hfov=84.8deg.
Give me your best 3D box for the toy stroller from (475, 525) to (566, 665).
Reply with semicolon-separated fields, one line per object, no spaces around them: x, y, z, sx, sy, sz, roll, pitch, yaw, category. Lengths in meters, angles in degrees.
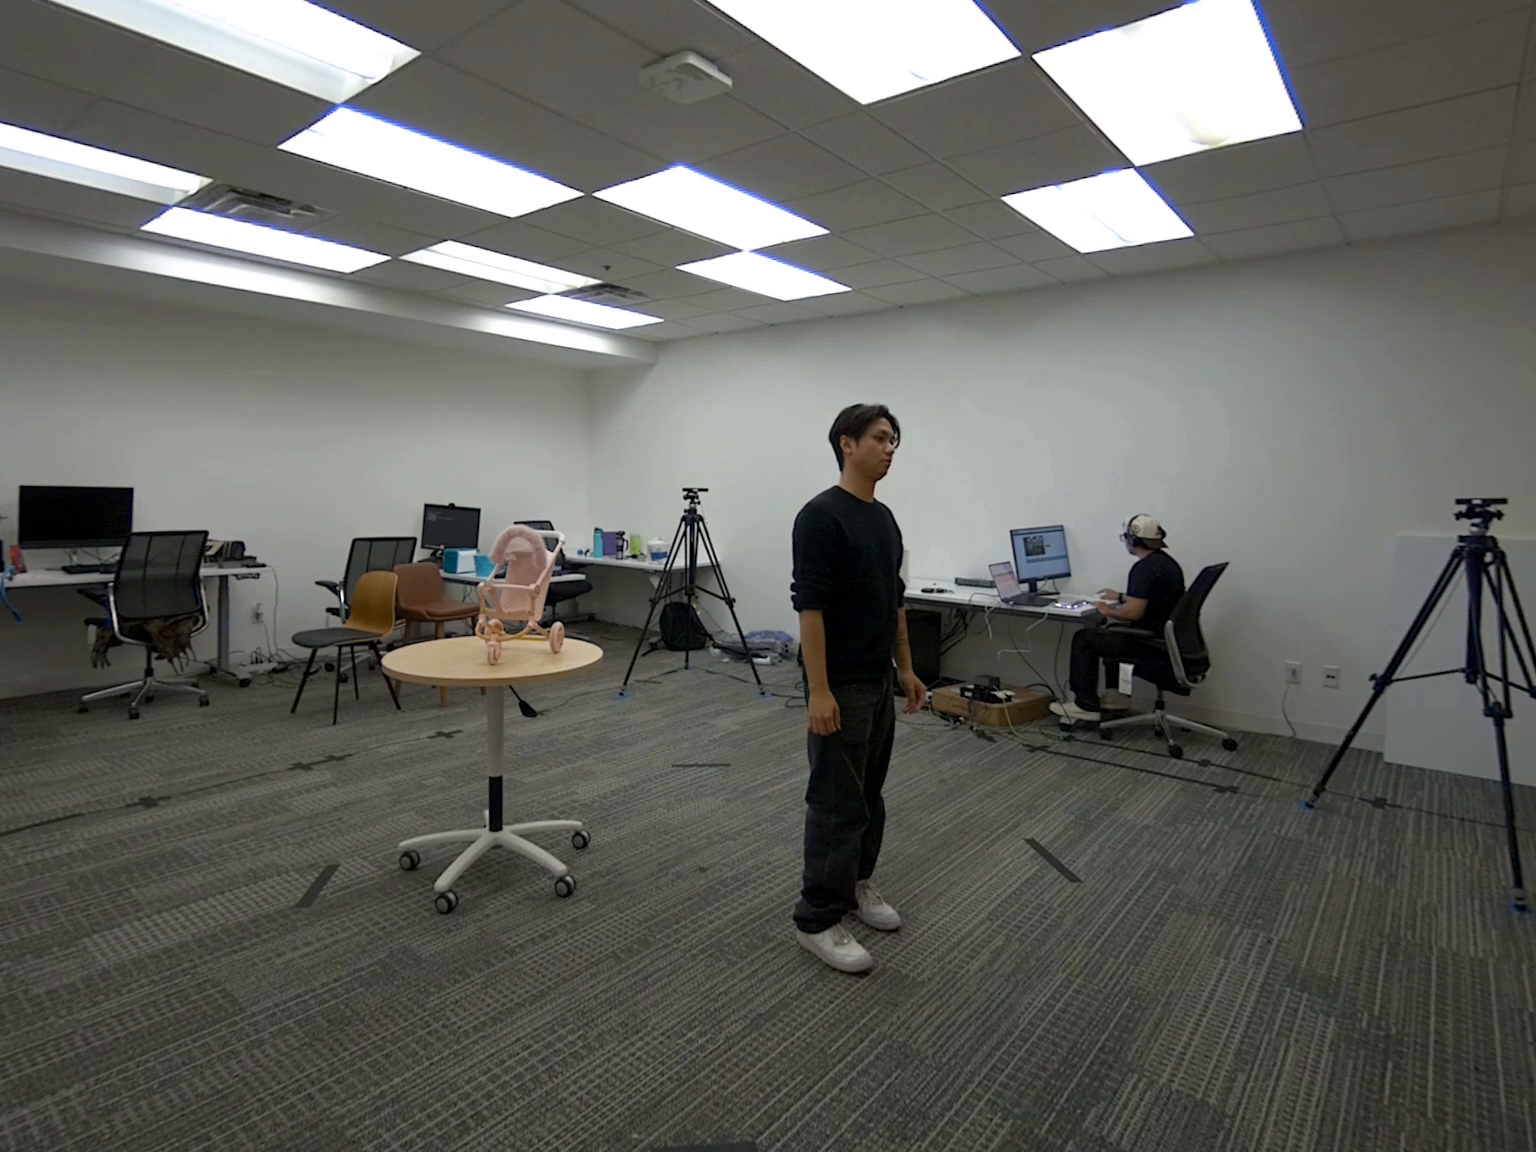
-0.921;0.056;3.051;0.285;0.540;0.333;3;-12;12;toy stroller
